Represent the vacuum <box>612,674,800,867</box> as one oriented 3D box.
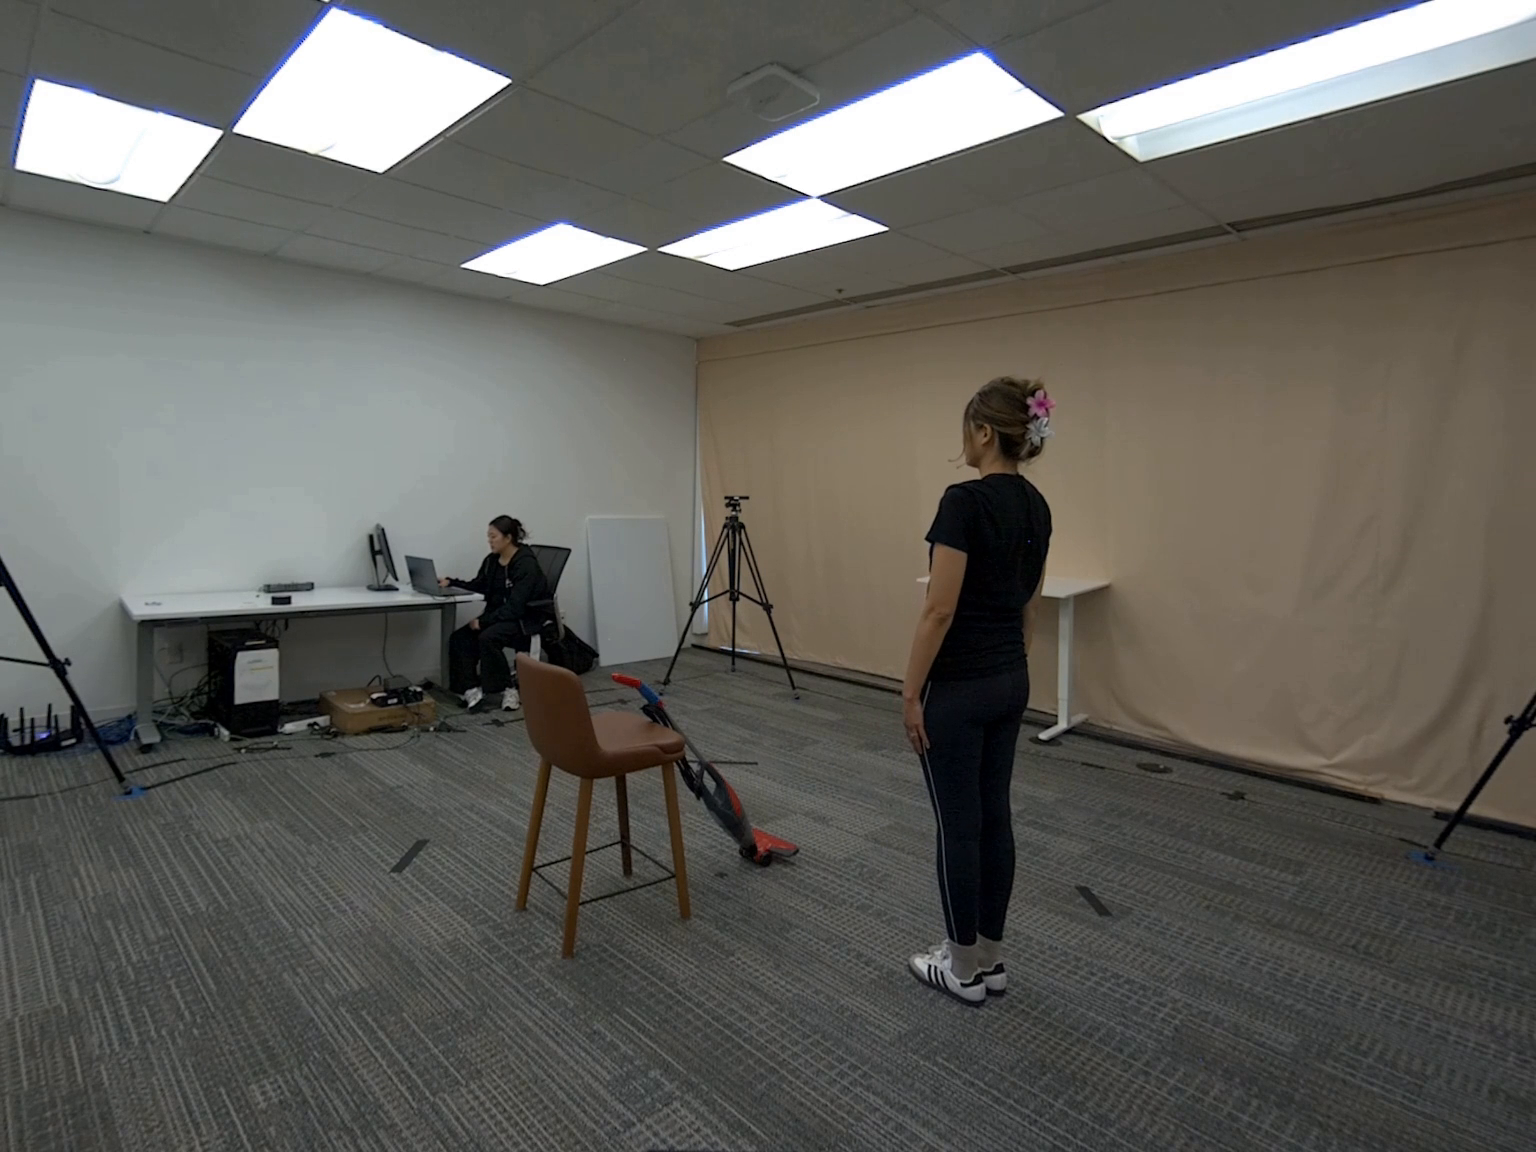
[{"bbox_3d":[-0.255,0.703,3.016,0.259,1.022,0.144,2,44,46],"label":"vacuum"}]
